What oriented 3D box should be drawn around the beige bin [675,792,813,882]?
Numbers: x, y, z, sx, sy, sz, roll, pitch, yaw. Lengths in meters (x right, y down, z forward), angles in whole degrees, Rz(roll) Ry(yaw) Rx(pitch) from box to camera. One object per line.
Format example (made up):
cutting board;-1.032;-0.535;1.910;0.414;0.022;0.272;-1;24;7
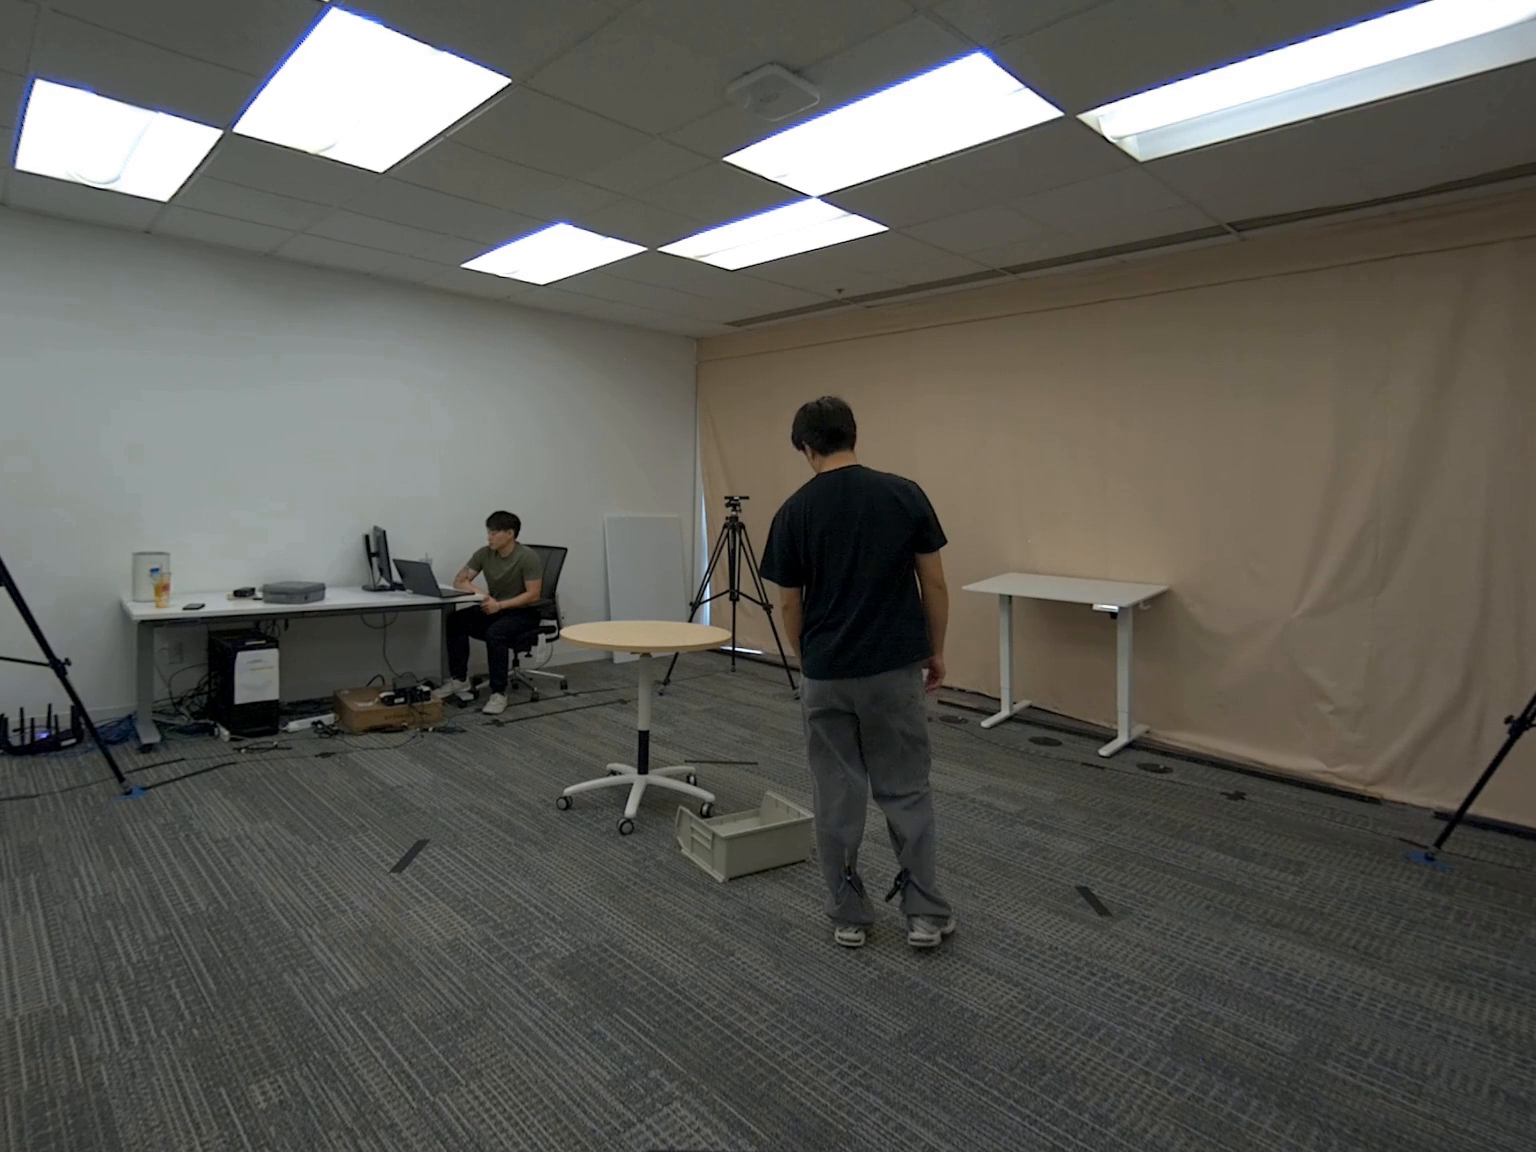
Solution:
beige bin;-0.098;0.999;3.285;0.413;0.188;0.386;-1;6;-33
